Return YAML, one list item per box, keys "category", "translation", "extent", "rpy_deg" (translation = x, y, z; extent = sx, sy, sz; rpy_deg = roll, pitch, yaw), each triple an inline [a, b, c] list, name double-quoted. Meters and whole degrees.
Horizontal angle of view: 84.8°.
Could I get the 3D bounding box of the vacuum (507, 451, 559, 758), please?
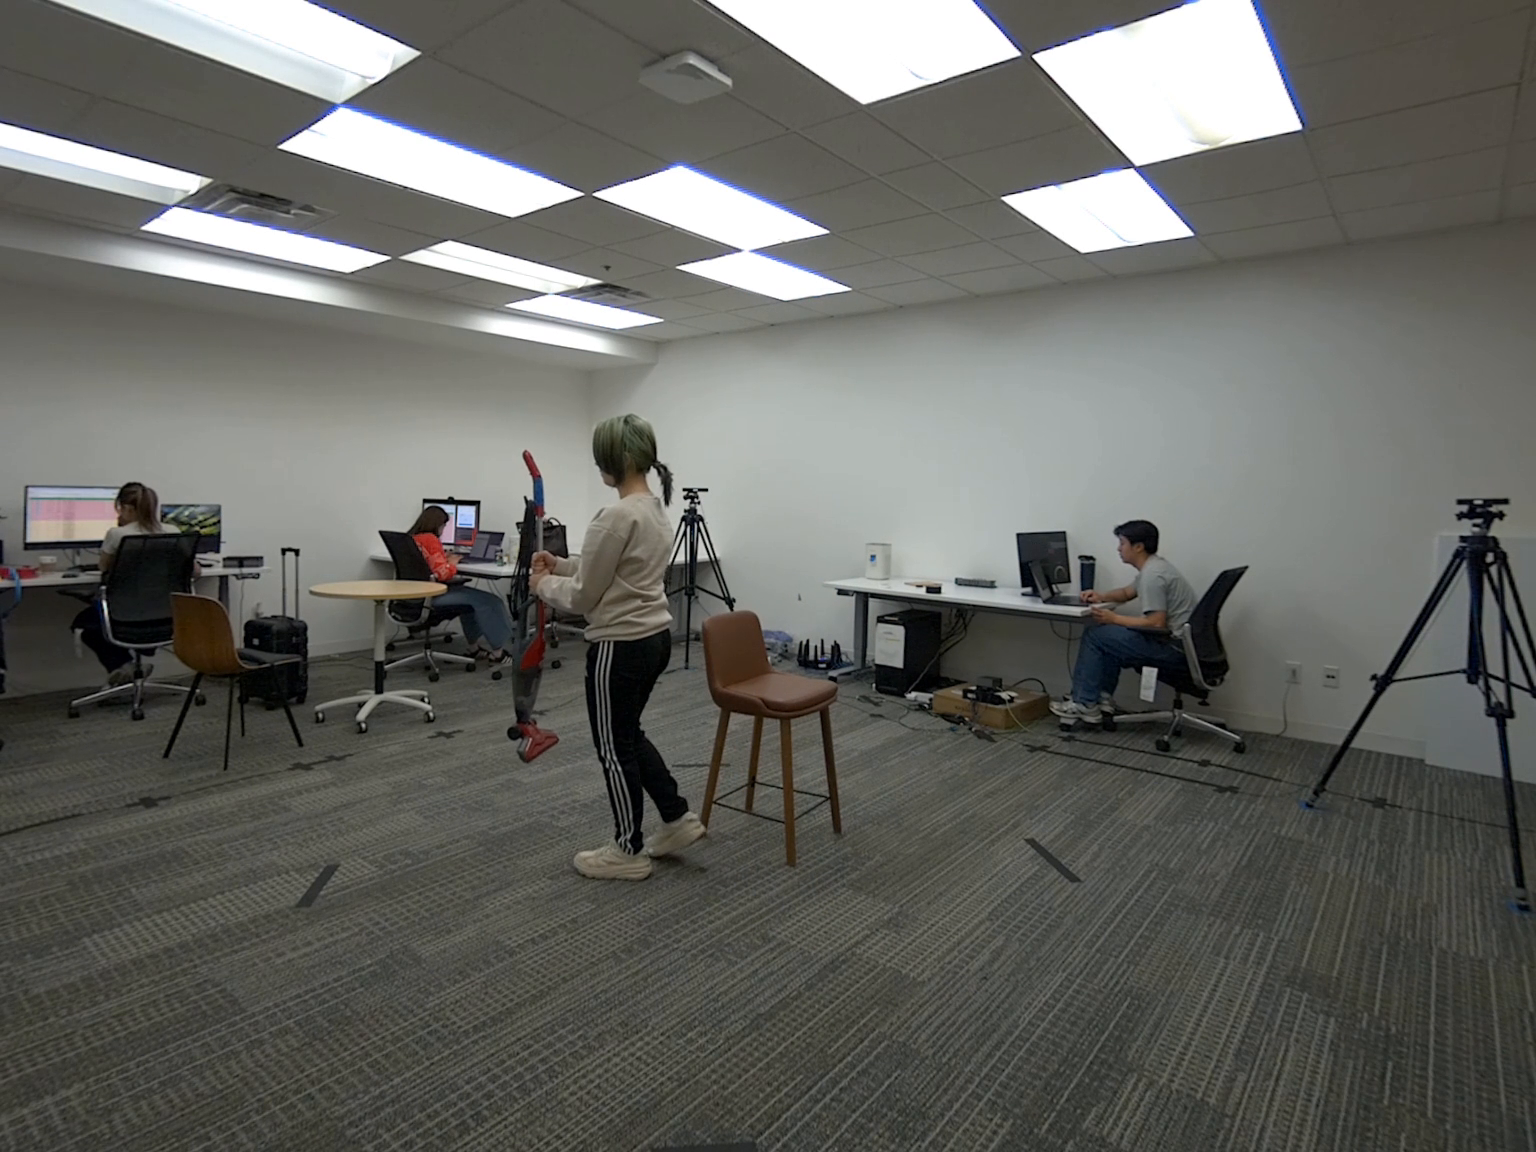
- category: "vacuum"
  translation: [-0.891, 0.078, 3.092]
  extent: [0.145, 1.045, 0.251]
  rpy_deg: [0, 4, 8]
